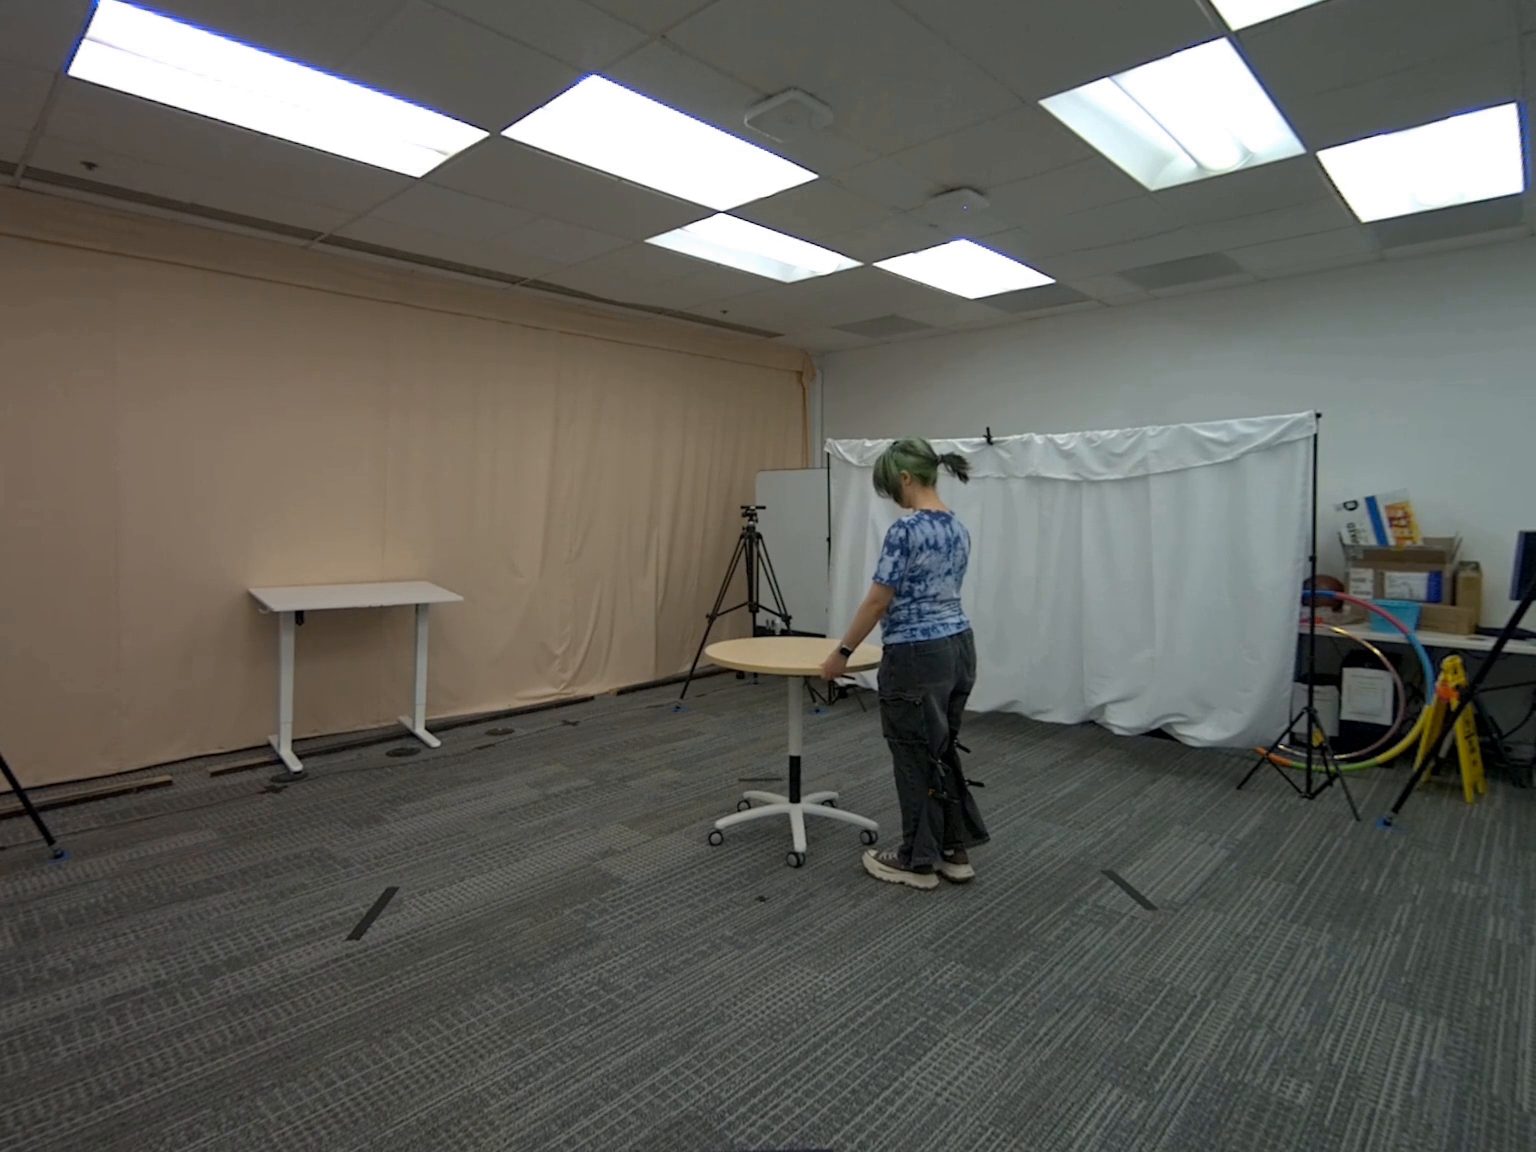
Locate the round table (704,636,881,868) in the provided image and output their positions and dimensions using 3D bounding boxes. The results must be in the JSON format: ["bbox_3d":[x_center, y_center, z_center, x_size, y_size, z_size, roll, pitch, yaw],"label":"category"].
[{"bbox_3d":[0.109,0.706,3.546,0.763,0.792,0.766,1,3,-2],"label":"round table"}]
